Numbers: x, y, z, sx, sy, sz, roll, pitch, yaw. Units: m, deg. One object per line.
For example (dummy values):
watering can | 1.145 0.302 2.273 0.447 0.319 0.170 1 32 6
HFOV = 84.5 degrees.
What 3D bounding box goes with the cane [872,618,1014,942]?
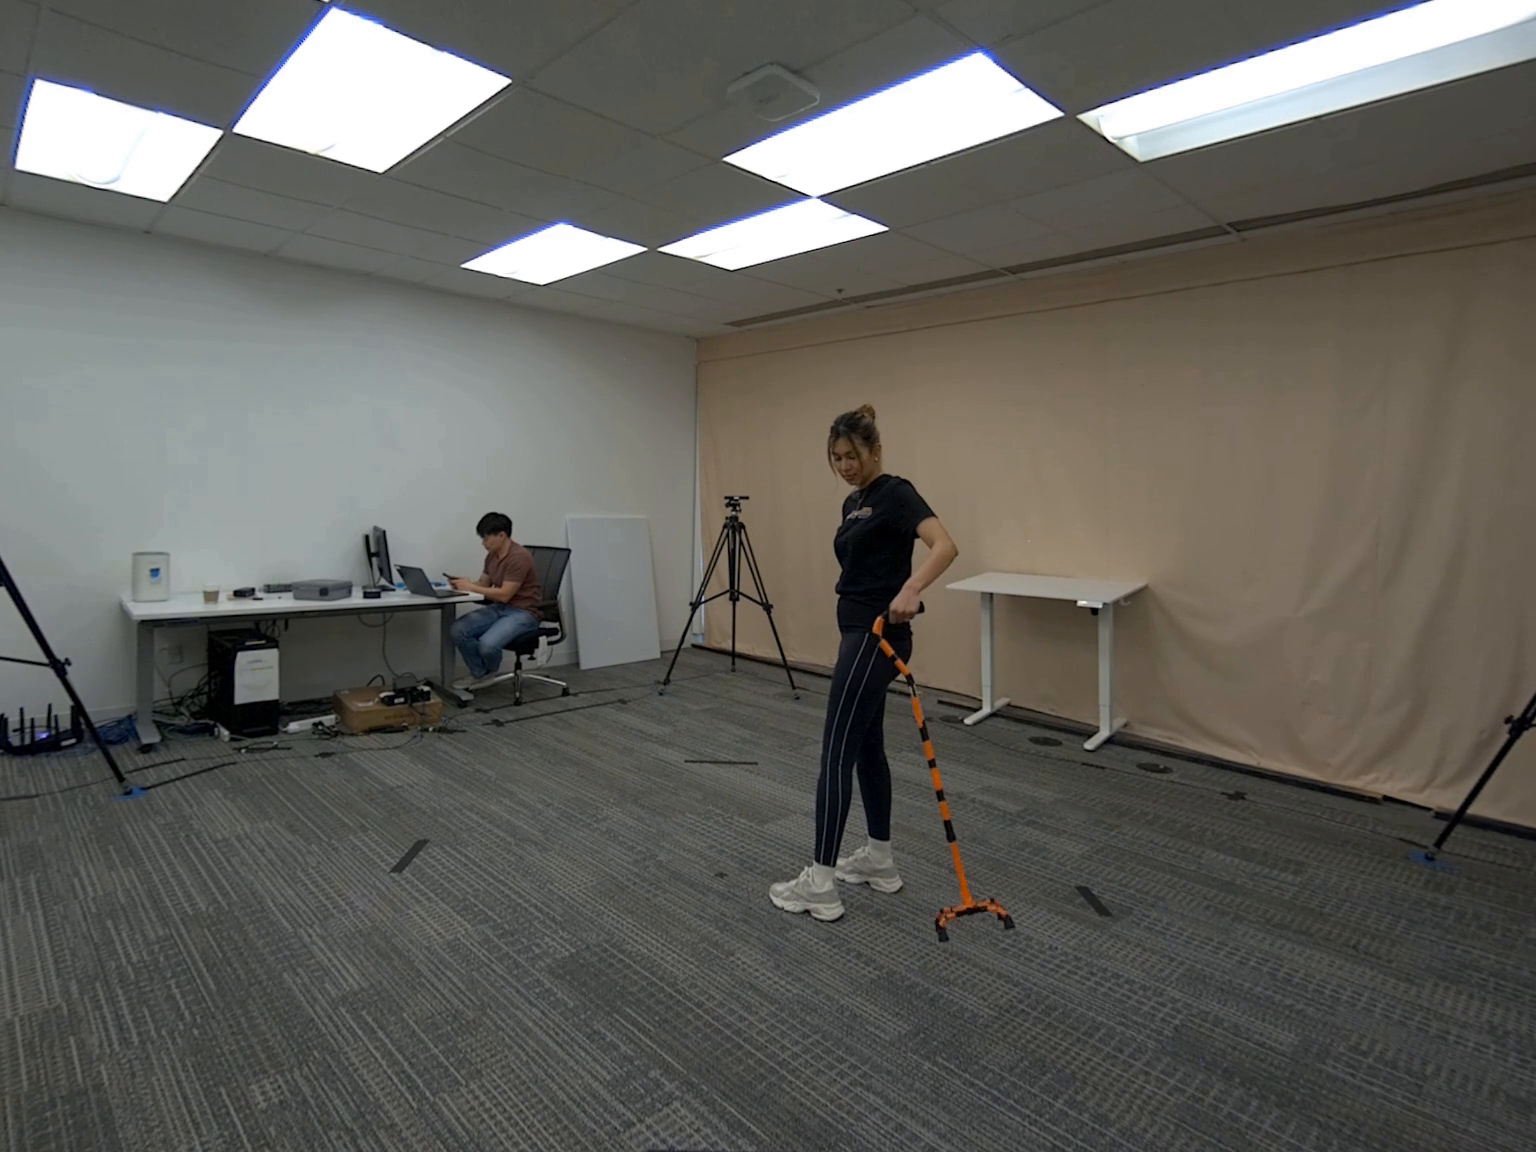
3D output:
cane | 0.455 0.559 2.420 0.207 0.919 0.149 -14 -13 6
